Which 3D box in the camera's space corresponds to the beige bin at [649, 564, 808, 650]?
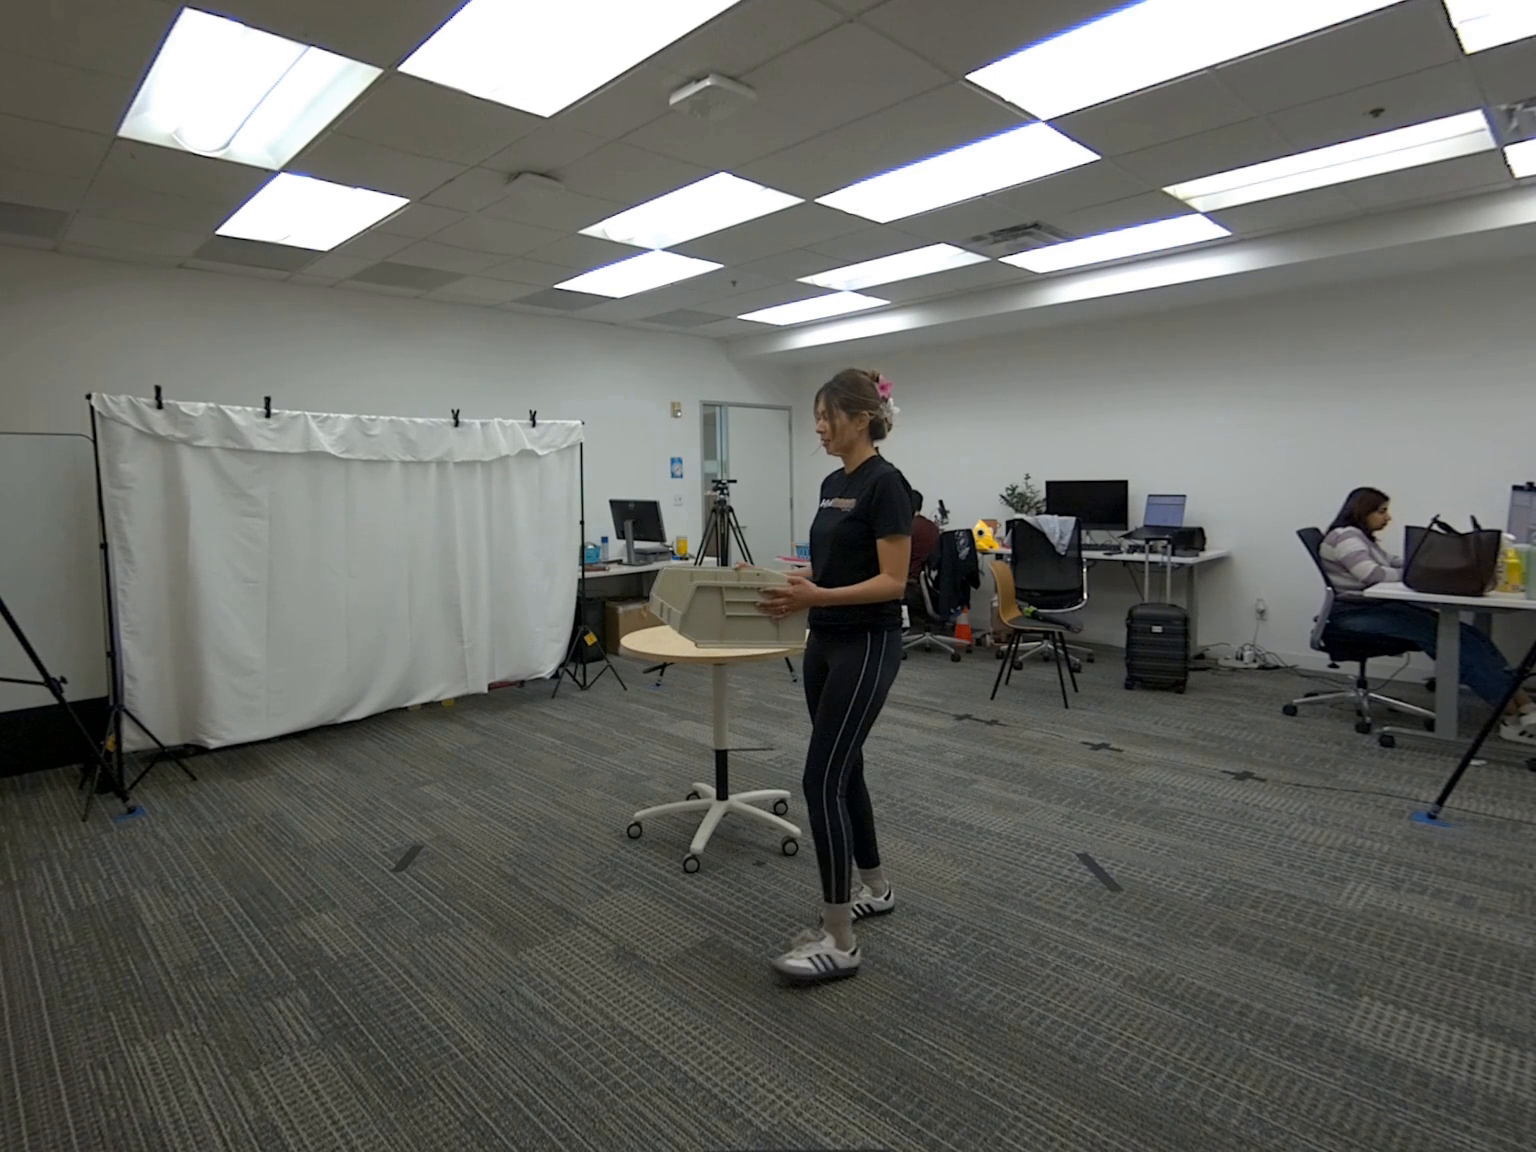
[{"bbox_3d":[-0.123,0.091,2.488,0.371,0.188,0.431,2,5,-18],"label":"beige bin"}]
